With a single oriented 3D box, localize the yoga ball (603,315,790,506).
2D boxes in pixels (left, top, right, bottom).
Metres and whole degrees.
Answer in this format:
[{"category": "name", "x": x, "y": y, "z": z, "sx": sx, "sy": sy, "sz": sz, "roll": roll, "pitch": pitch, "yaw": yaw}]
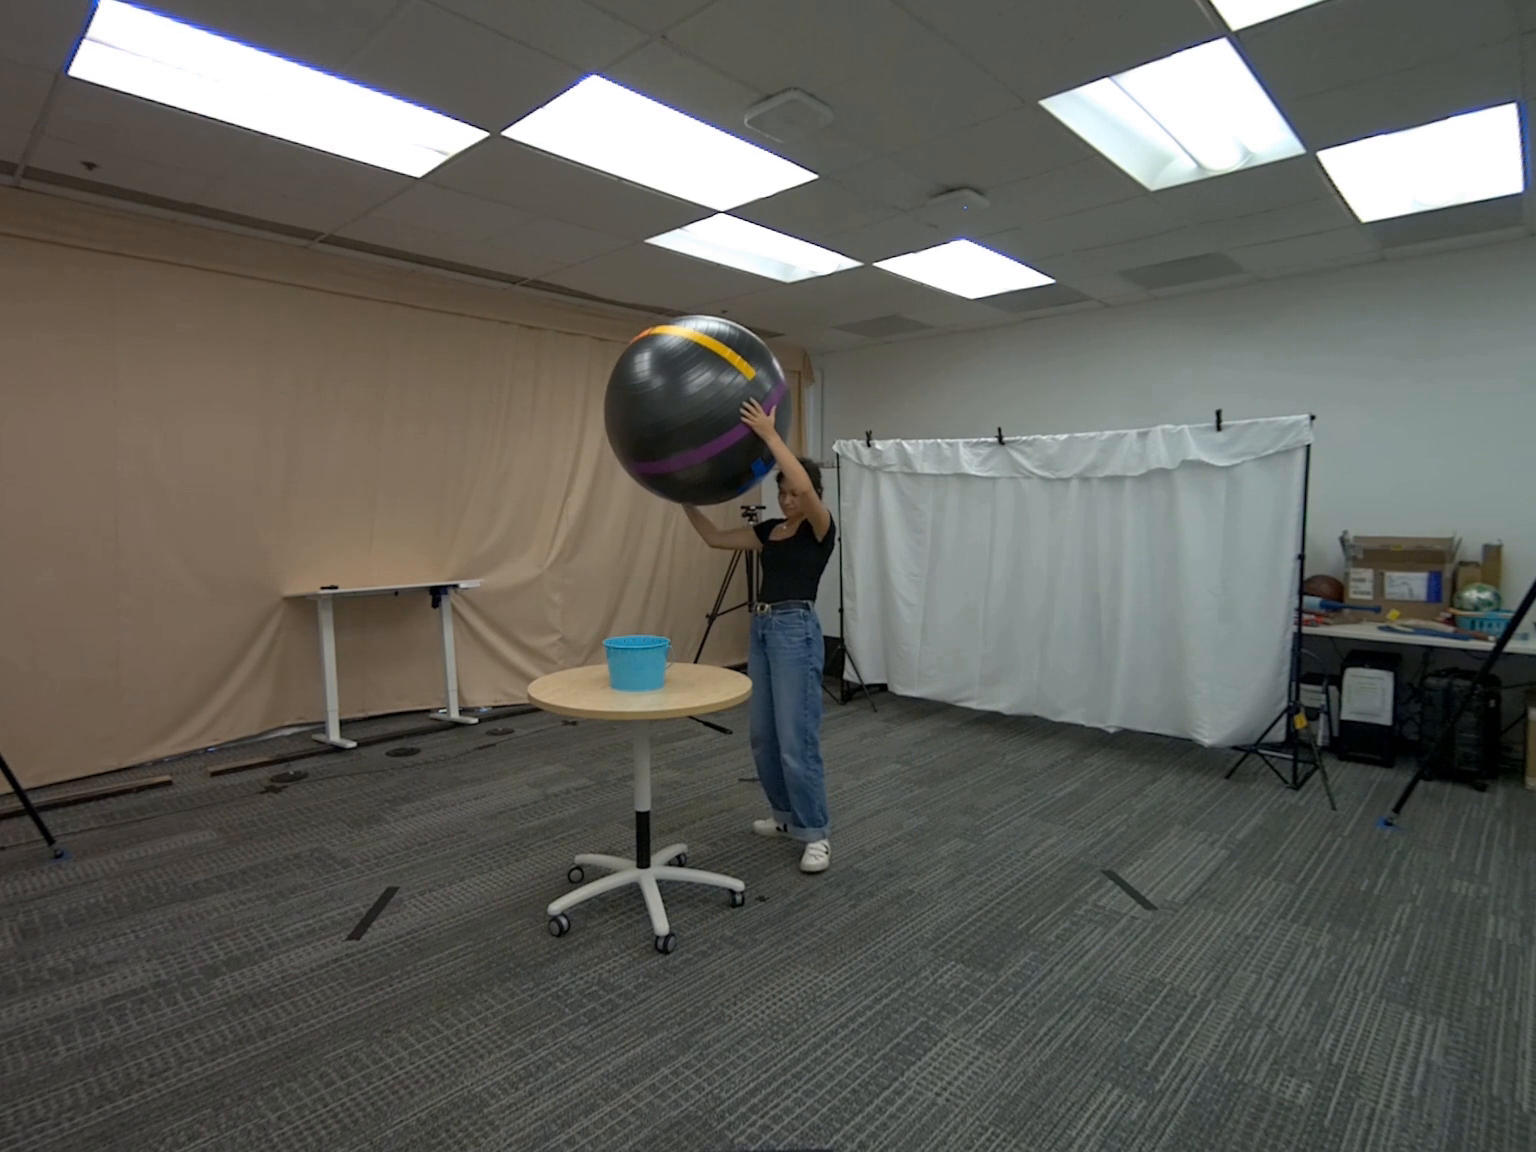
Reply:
[{"category": "yoga ball", "x": -0.278, "y": -0.658, "z": 3.413, "sx": 0.757, "sy": 0.756, "sz": 0.760, "roll": 0, "pitch": 4, "yaw": -2}]
